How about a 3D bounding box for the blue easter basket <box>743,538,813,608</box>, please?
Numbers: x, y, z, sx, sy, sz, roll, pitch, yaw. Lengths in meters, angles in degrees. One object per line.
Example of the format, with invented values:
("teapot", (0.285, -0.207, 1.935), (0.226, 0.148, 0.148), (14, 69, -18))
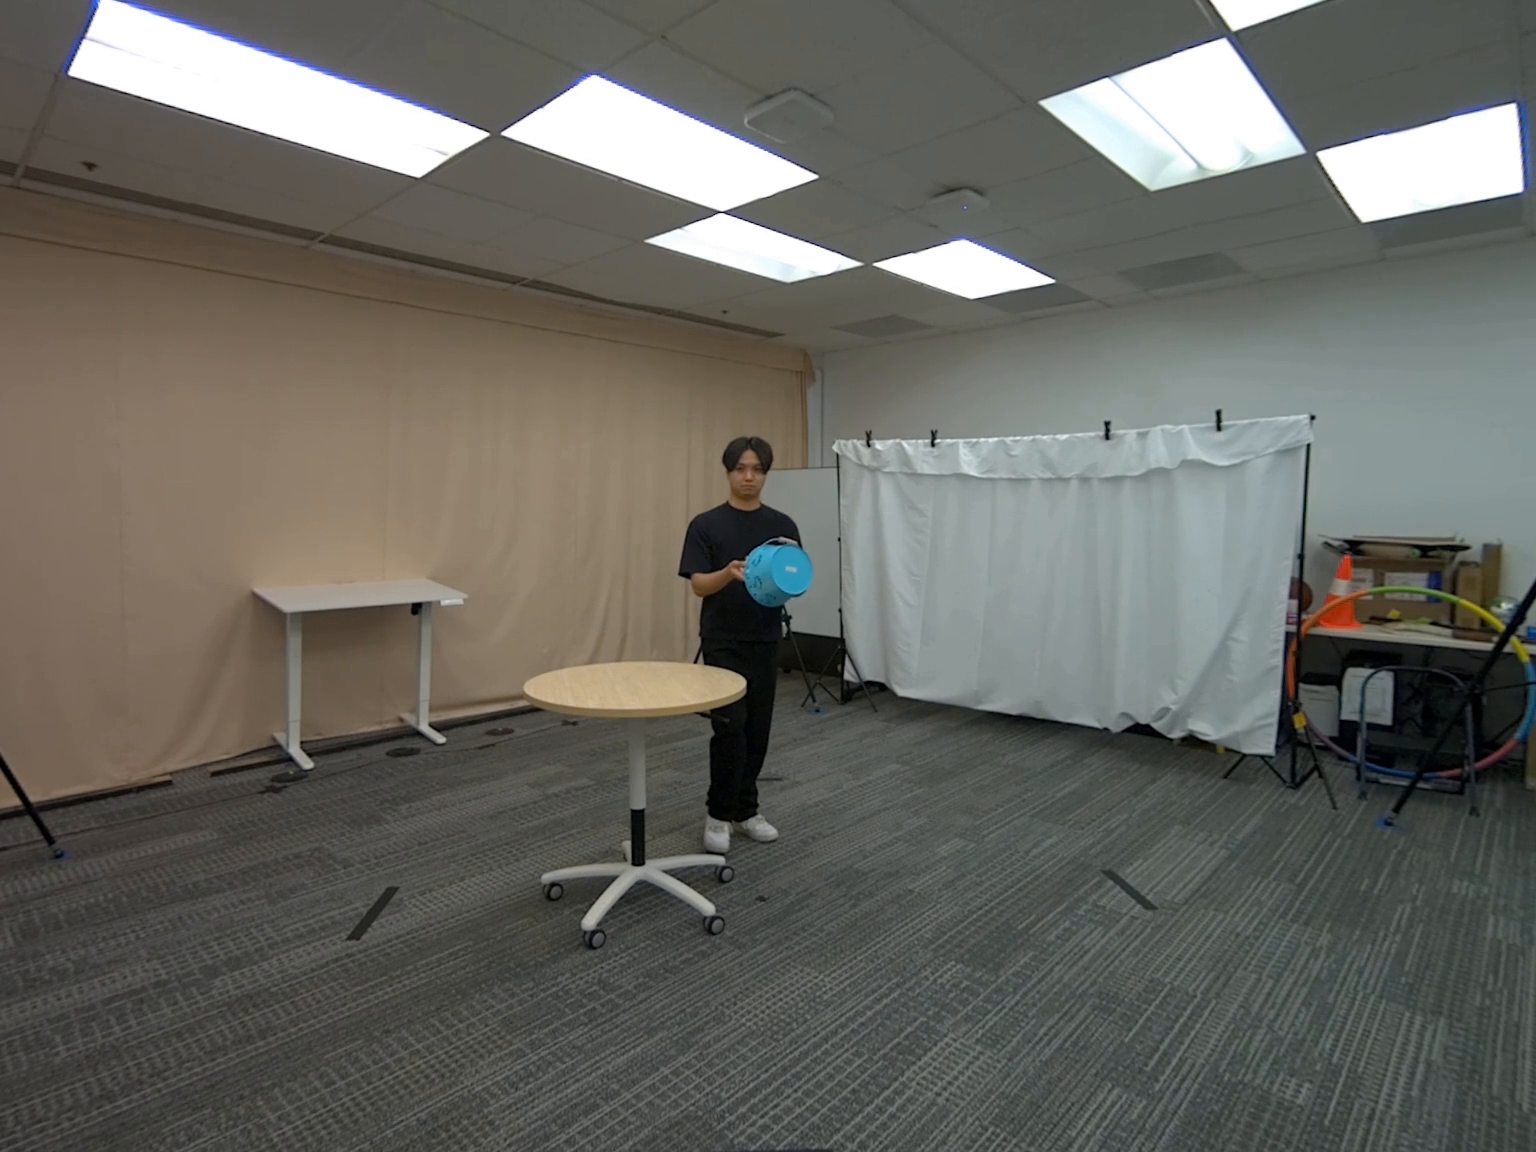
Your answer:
("blue easter basket", (0.045, -0.020, 3.091), (0.237, 0.245, 0.159), (-2, -9, -29))
